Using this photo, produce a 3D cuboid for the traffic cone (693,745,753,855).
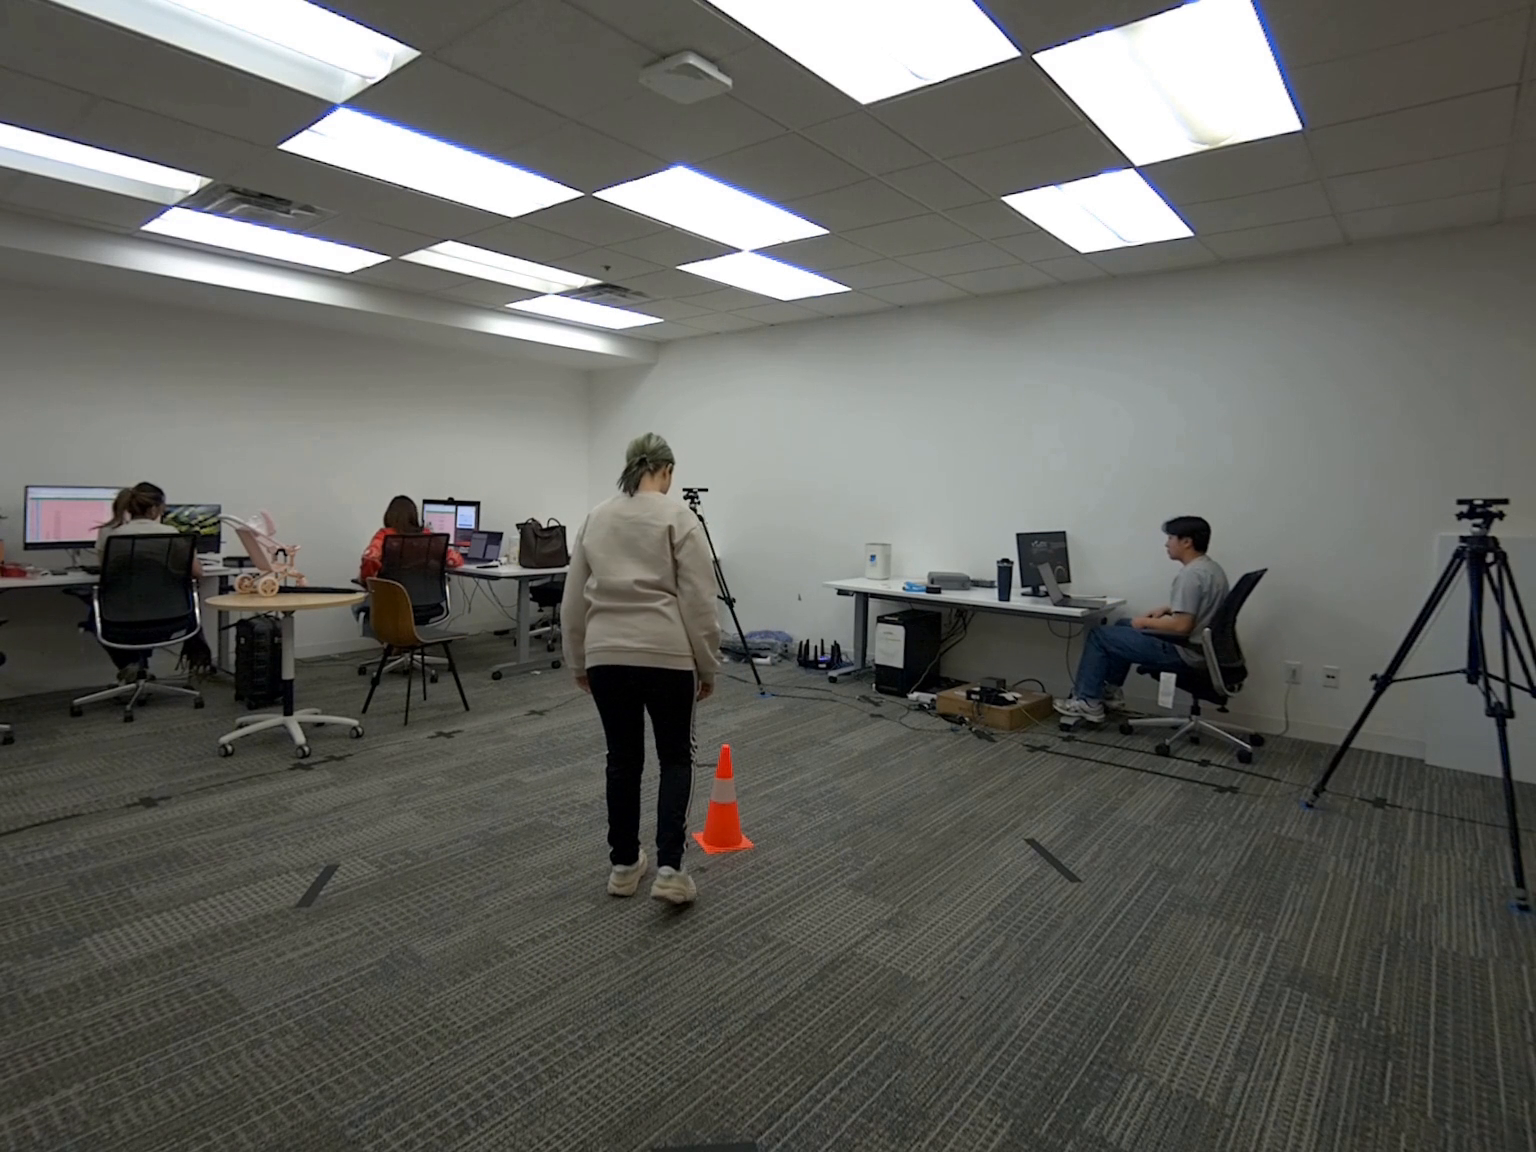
[{"bbox_3d":[-0.182,0.859,3.368,0.199,0.383,0.210,2,2,-21],"label":"traffic cone"}]
